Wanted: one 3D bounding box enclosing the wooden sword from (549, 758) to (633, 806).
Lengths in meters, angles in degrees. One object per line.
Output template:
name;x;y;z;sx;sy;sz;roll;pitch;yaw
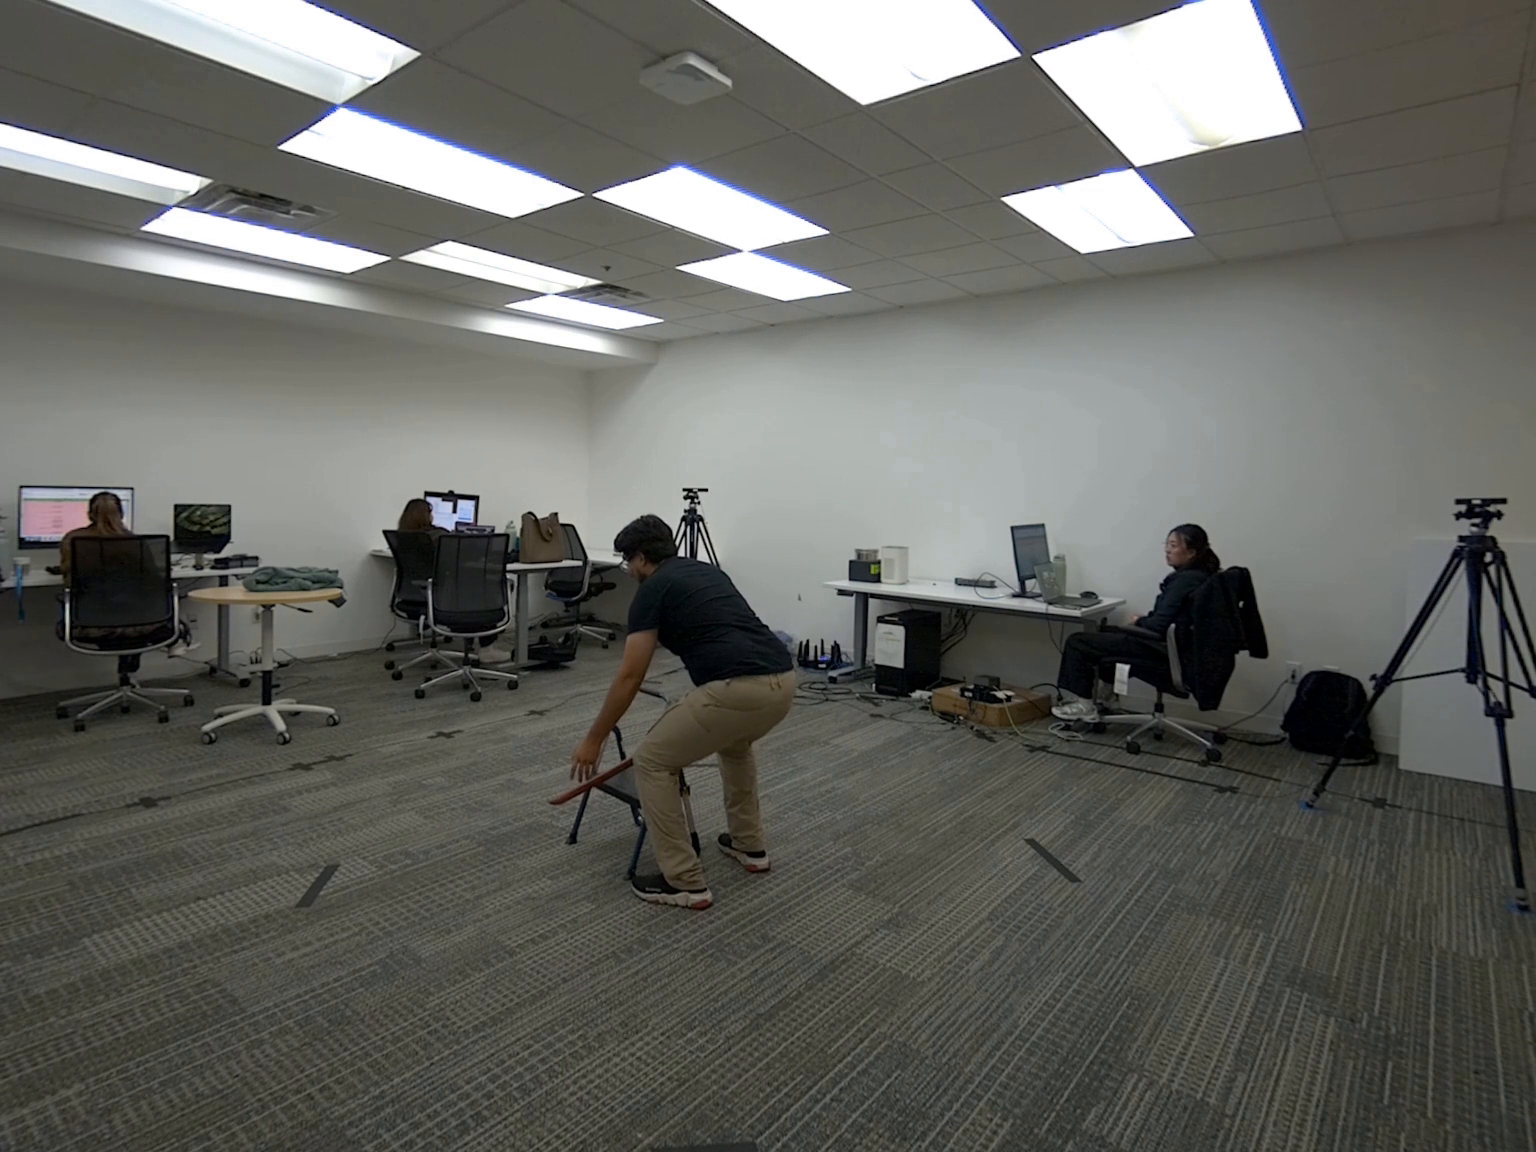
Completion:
wooden sword;-0.440;0.632;3.290;0.053;0.024;1.006;4;20;43
